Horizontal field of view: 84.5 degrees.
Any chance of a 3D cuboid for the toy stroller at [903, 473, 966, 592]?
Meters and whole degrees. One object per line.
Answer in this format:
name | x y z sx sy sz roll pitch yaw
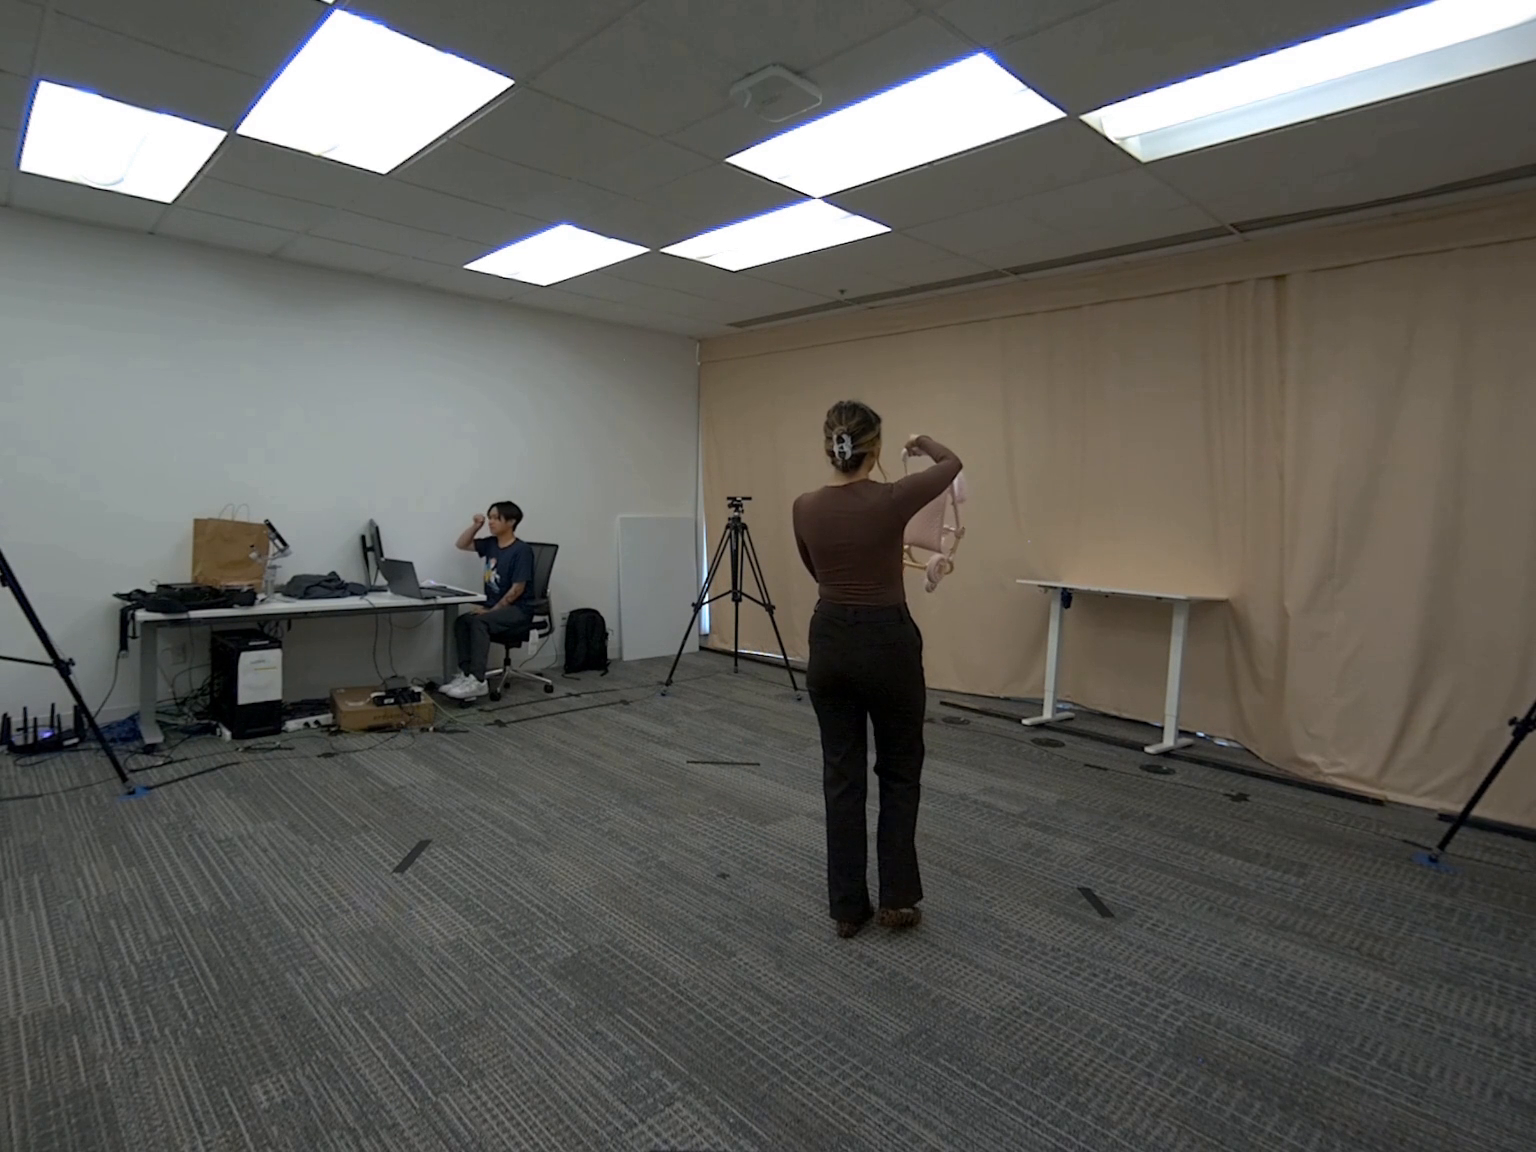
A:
toy stroller | 0.609 -0.196 3.207 0.289 0.533 0.332 16 7 42
